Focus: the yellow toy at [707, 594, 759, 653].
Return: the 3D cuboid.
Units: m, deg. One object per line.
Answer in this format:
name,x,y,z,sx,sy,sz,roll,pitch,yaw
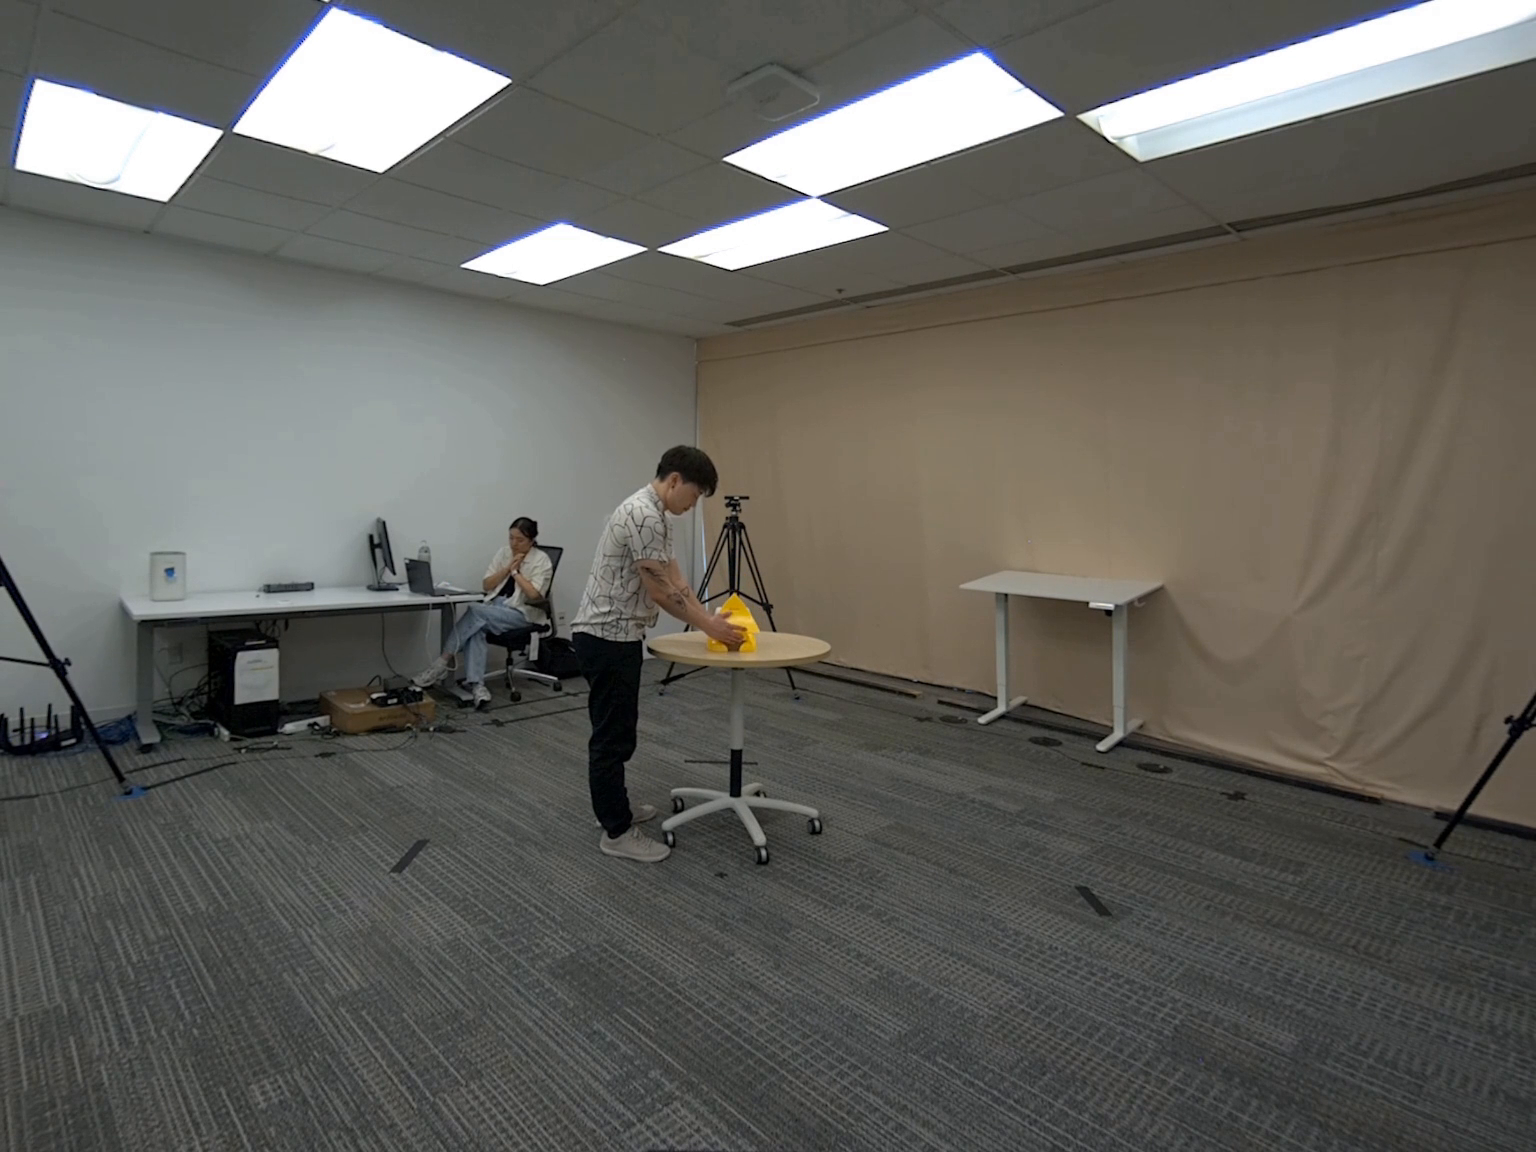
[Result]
yellow toy,-0.154,0.175,3.391,0.204,0.230,0.194,0,3,-6
